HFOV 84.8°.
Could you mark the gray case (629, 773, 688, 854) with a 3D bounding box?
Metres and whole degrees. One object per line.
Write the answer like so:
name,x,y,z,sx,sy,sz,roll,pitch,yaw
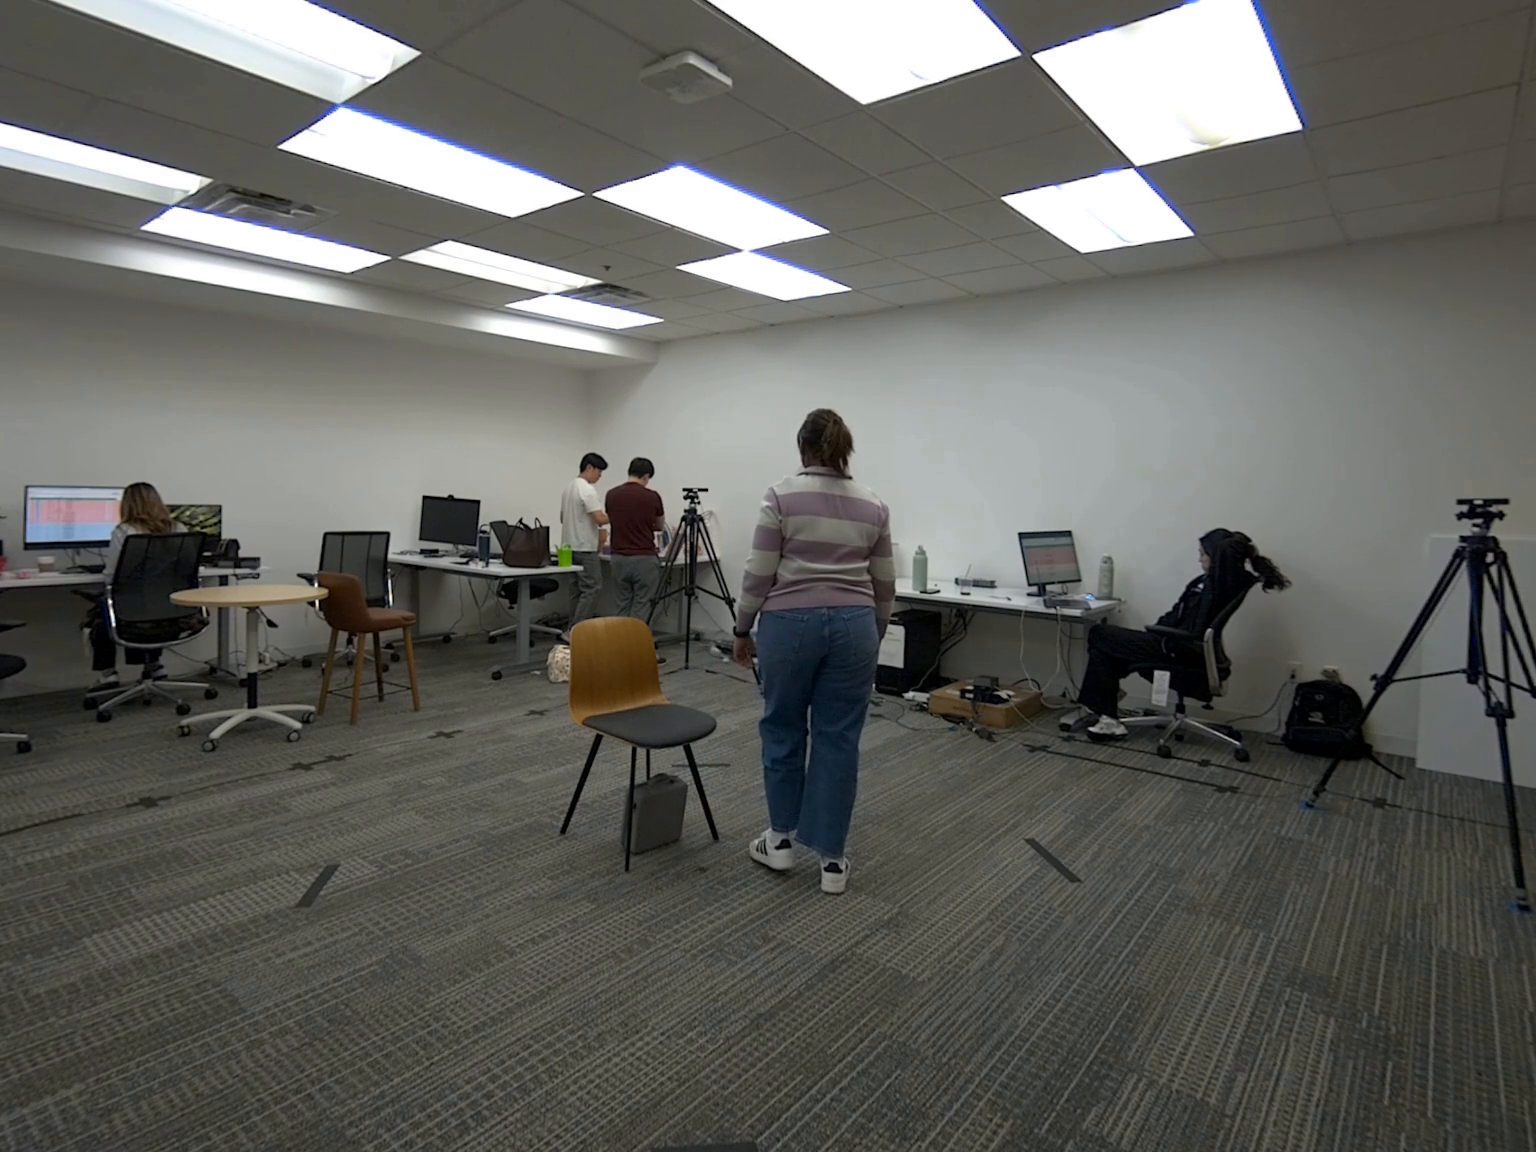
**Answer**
gray case,-0.450,0.918,3.312,0.249,0.258,0.108,-3,15,-44
